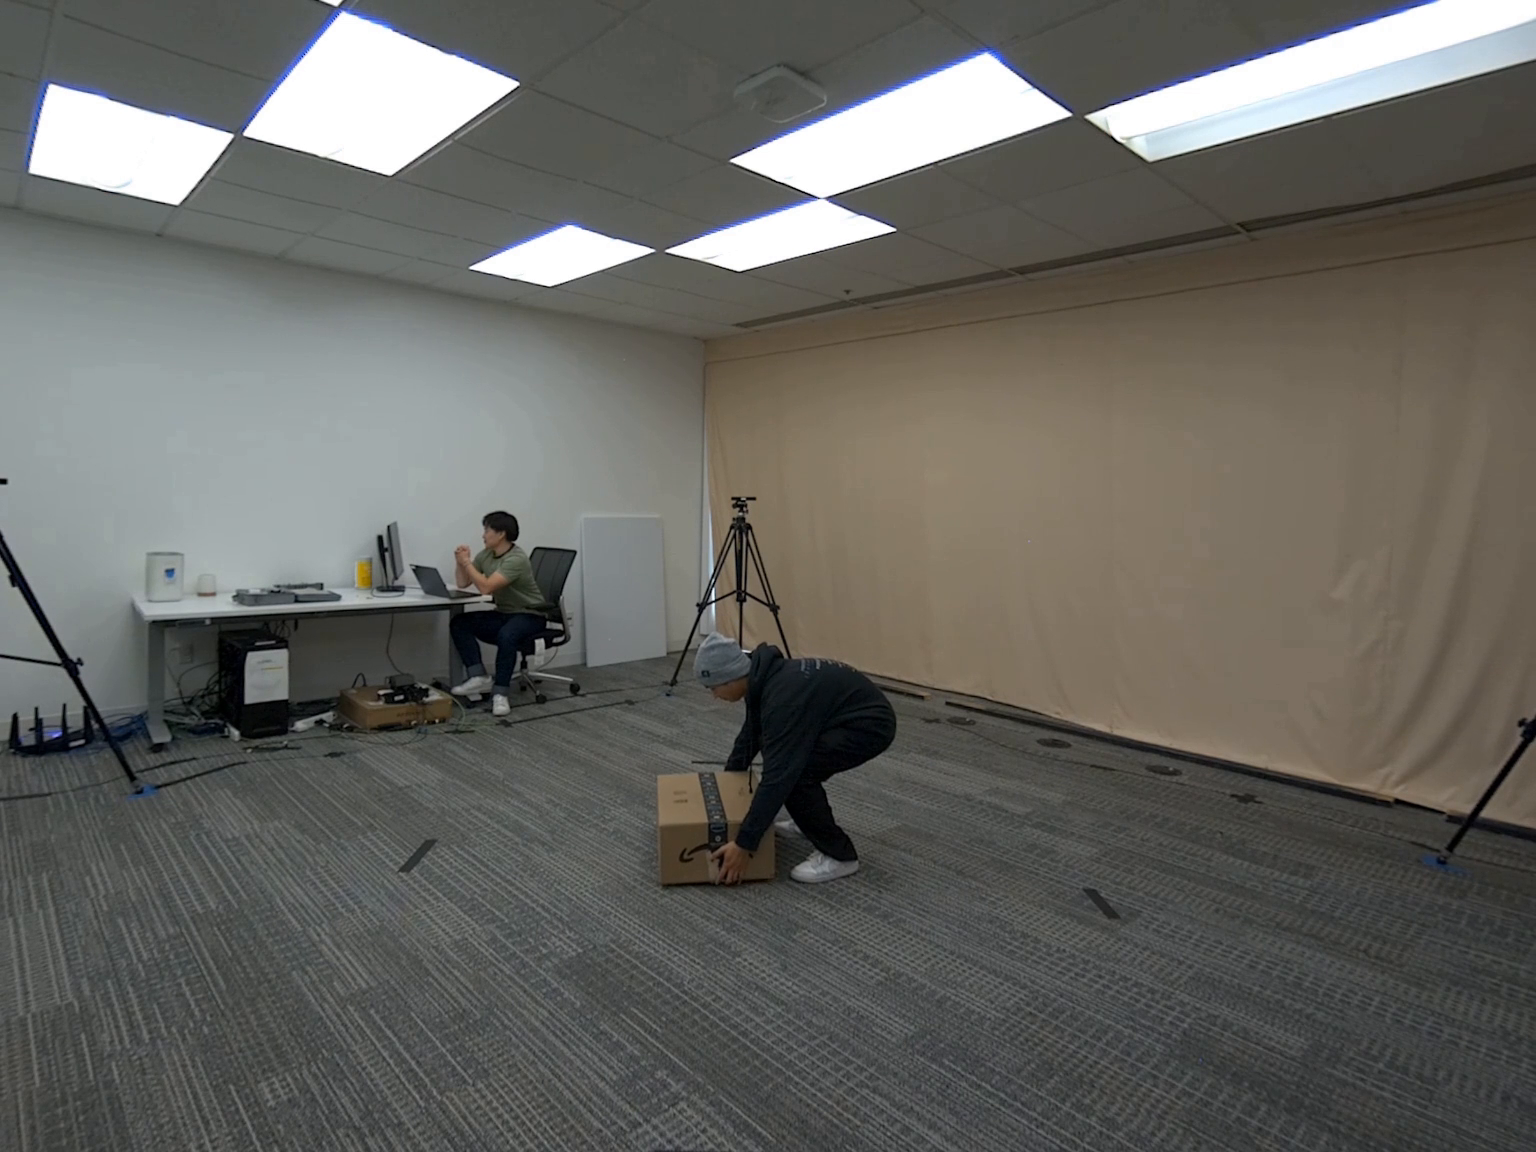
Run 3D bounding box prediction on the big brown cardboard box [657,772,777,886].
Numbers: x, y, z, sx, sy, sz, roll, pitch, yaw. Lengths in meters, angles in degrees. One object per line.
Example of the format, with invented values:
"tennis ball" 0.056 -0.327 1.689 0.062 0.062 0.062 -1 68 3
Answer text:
"big brown cardboard box" -0.231 0.964 3.285 0.415 0.233 0.593 0 4 -8
